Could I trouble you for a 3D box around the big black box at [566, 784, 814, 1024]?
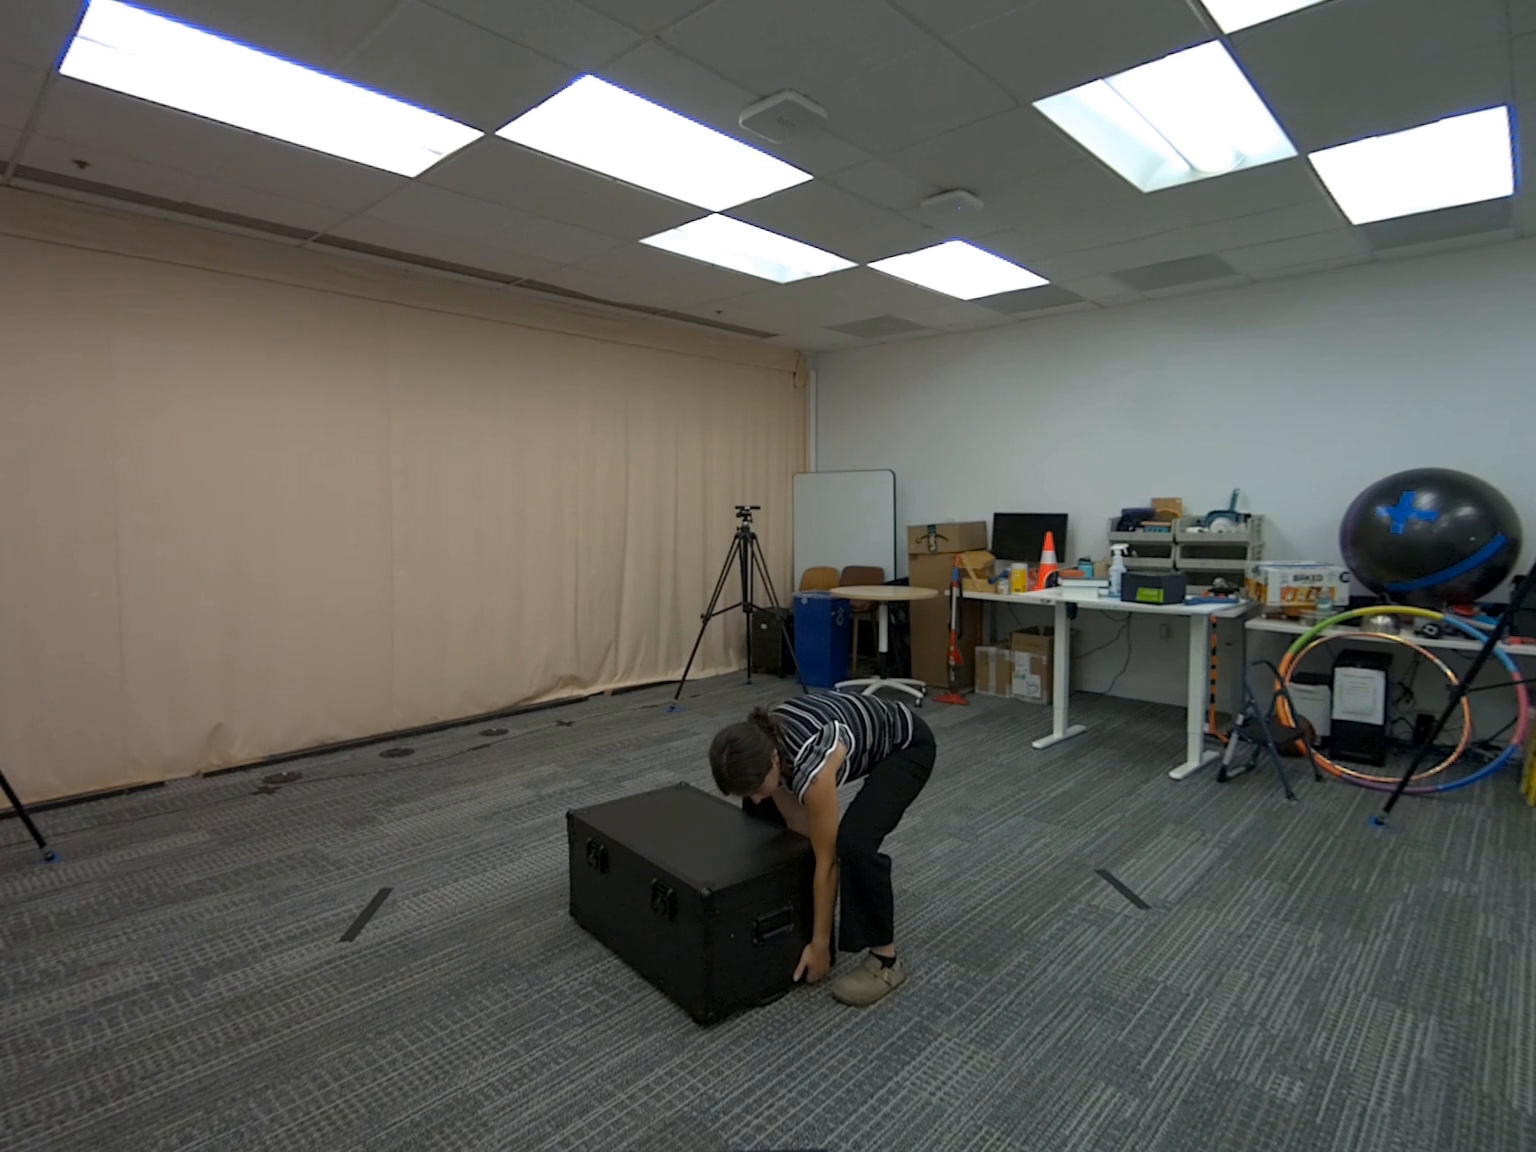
[{"bbox_3d":[-0.262,0.982,2.691,0.505,0.395,0.890,-3,6,-40],"label":"big black box"}]
